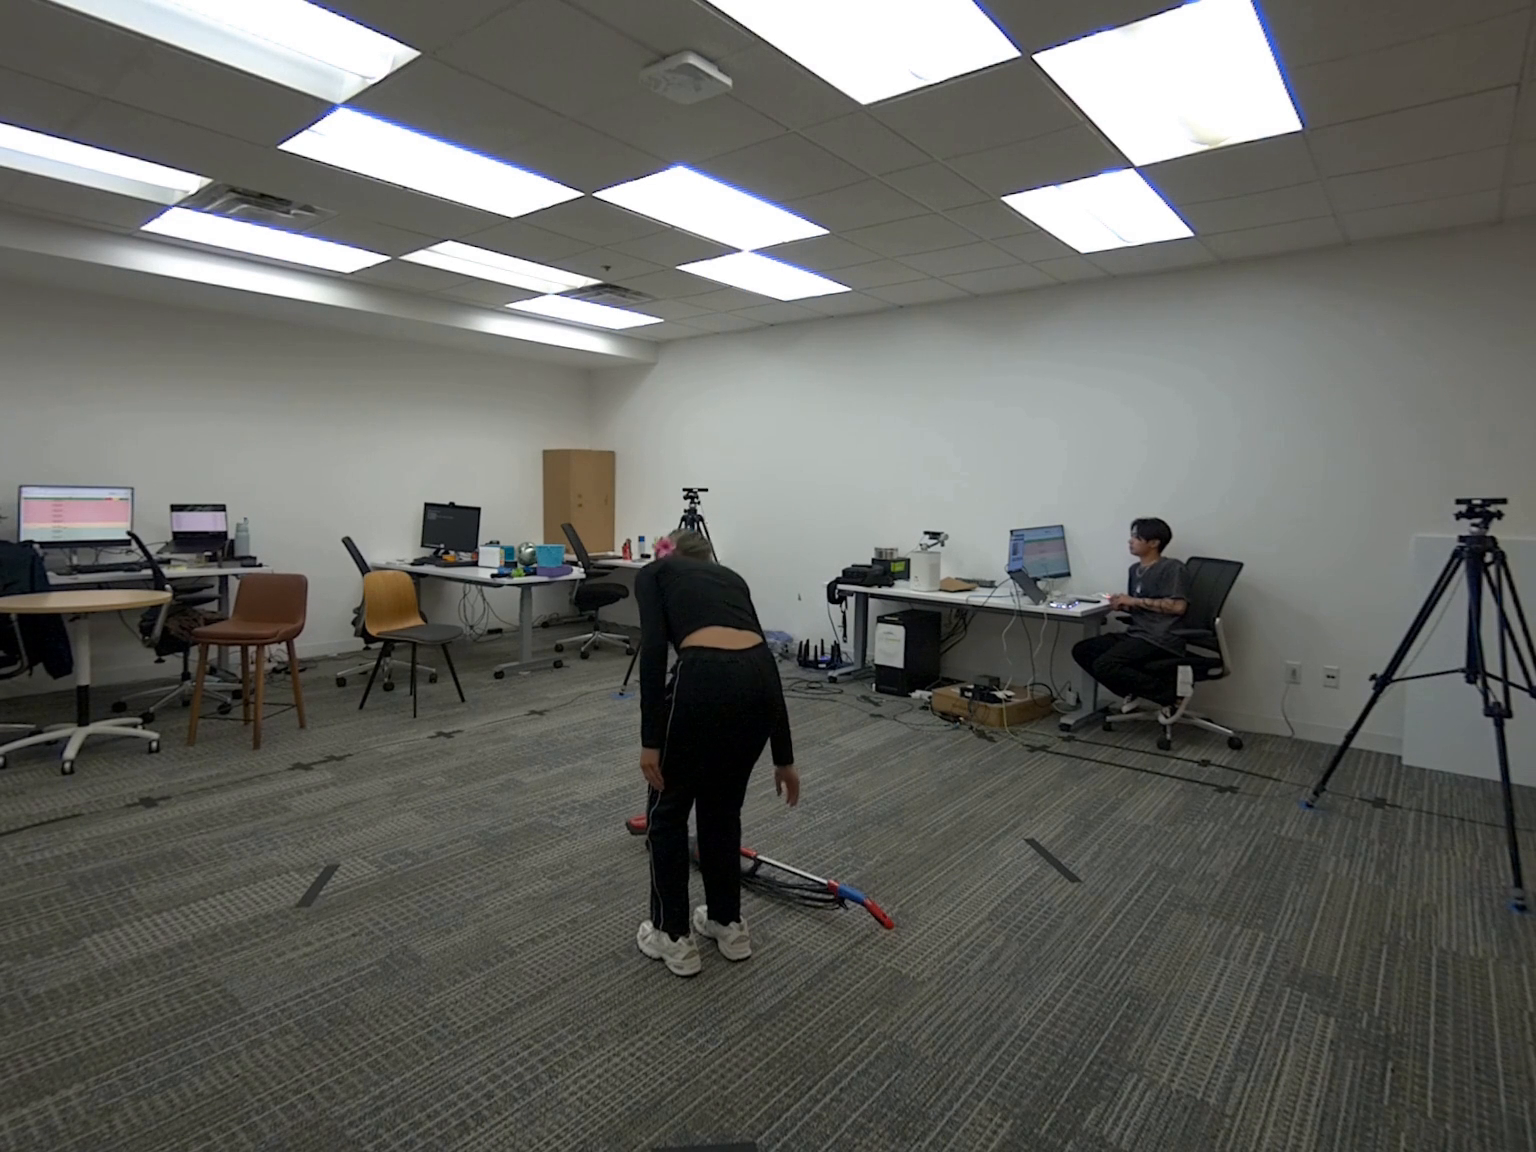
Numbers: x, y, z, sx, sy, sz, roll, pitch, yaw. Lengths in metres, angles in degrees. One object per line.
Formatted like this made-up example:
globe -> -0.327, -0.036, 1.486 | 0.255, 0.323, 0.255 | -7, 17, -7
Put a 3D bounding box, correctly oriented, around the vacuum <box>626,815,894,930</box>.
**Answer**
vacuum -> -0.043, 1.025, 2.966 | 1.086, 0.143, 0.246 | 7, 13, 40
